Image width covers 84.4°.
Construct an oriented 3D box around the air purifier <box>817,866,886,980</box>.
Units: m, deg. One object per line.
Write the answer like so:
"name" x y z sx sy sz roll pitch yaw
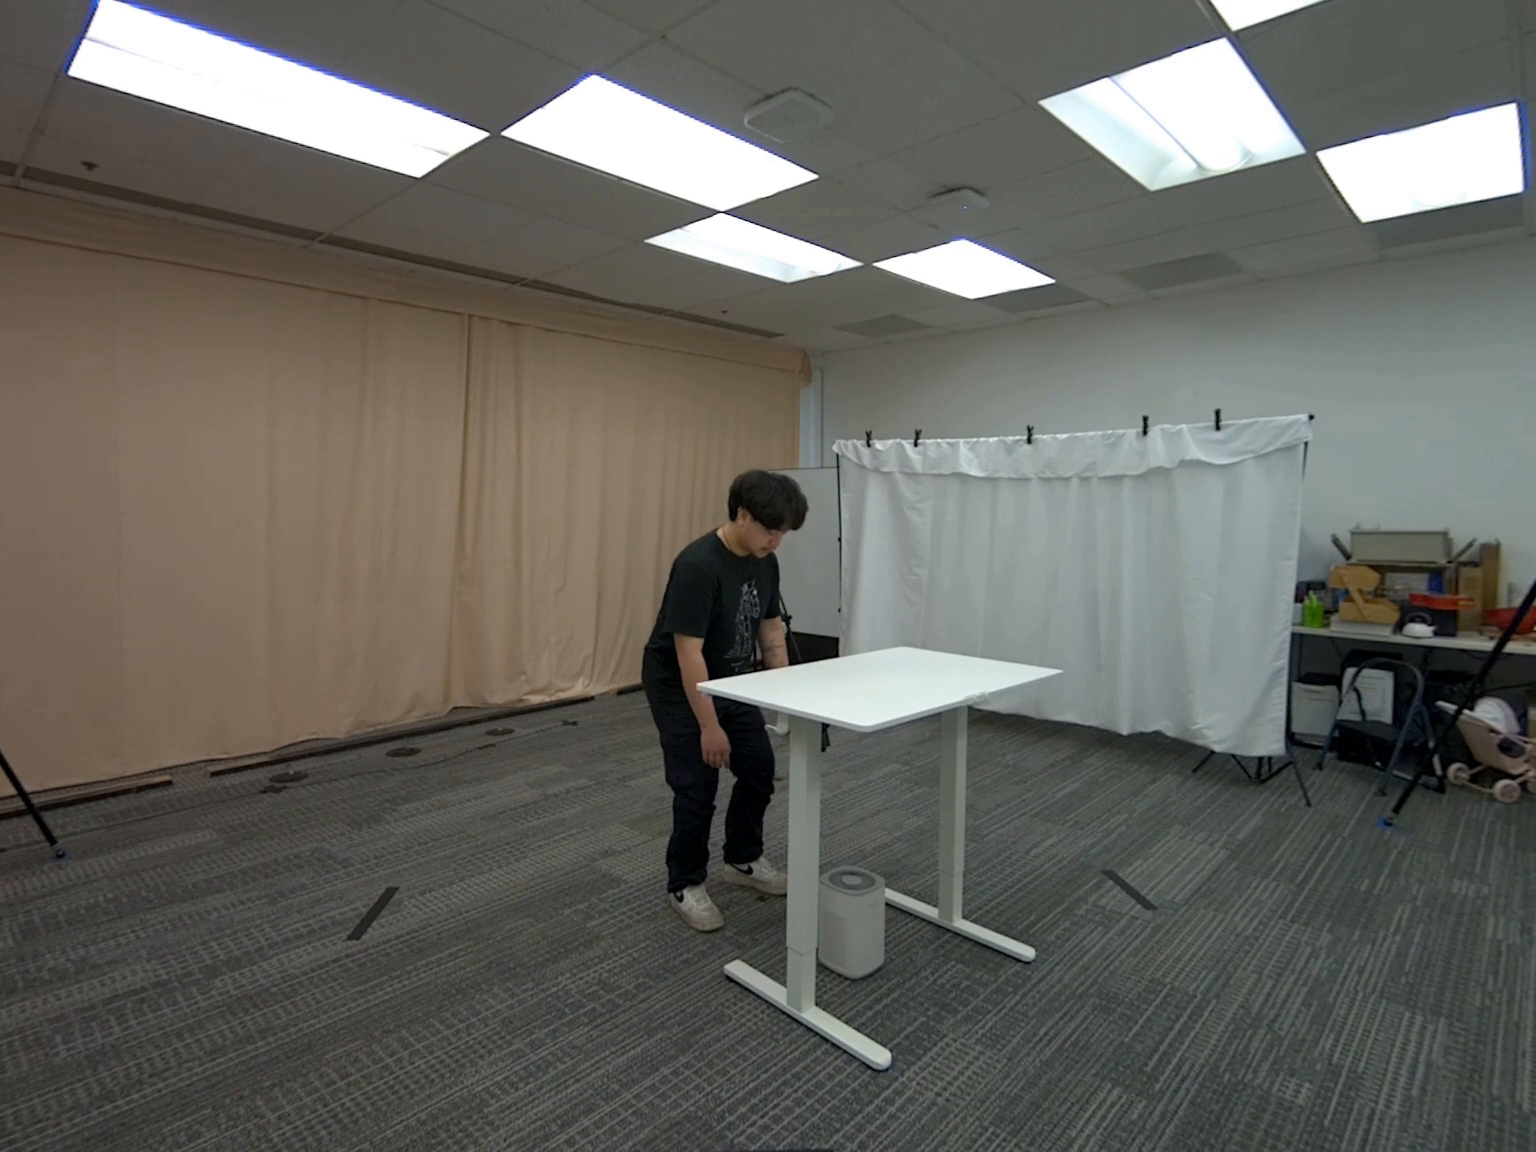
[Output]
"air purifier" 0.258 1.046 2.546 0.177 0.265 0.166 4 5 45
